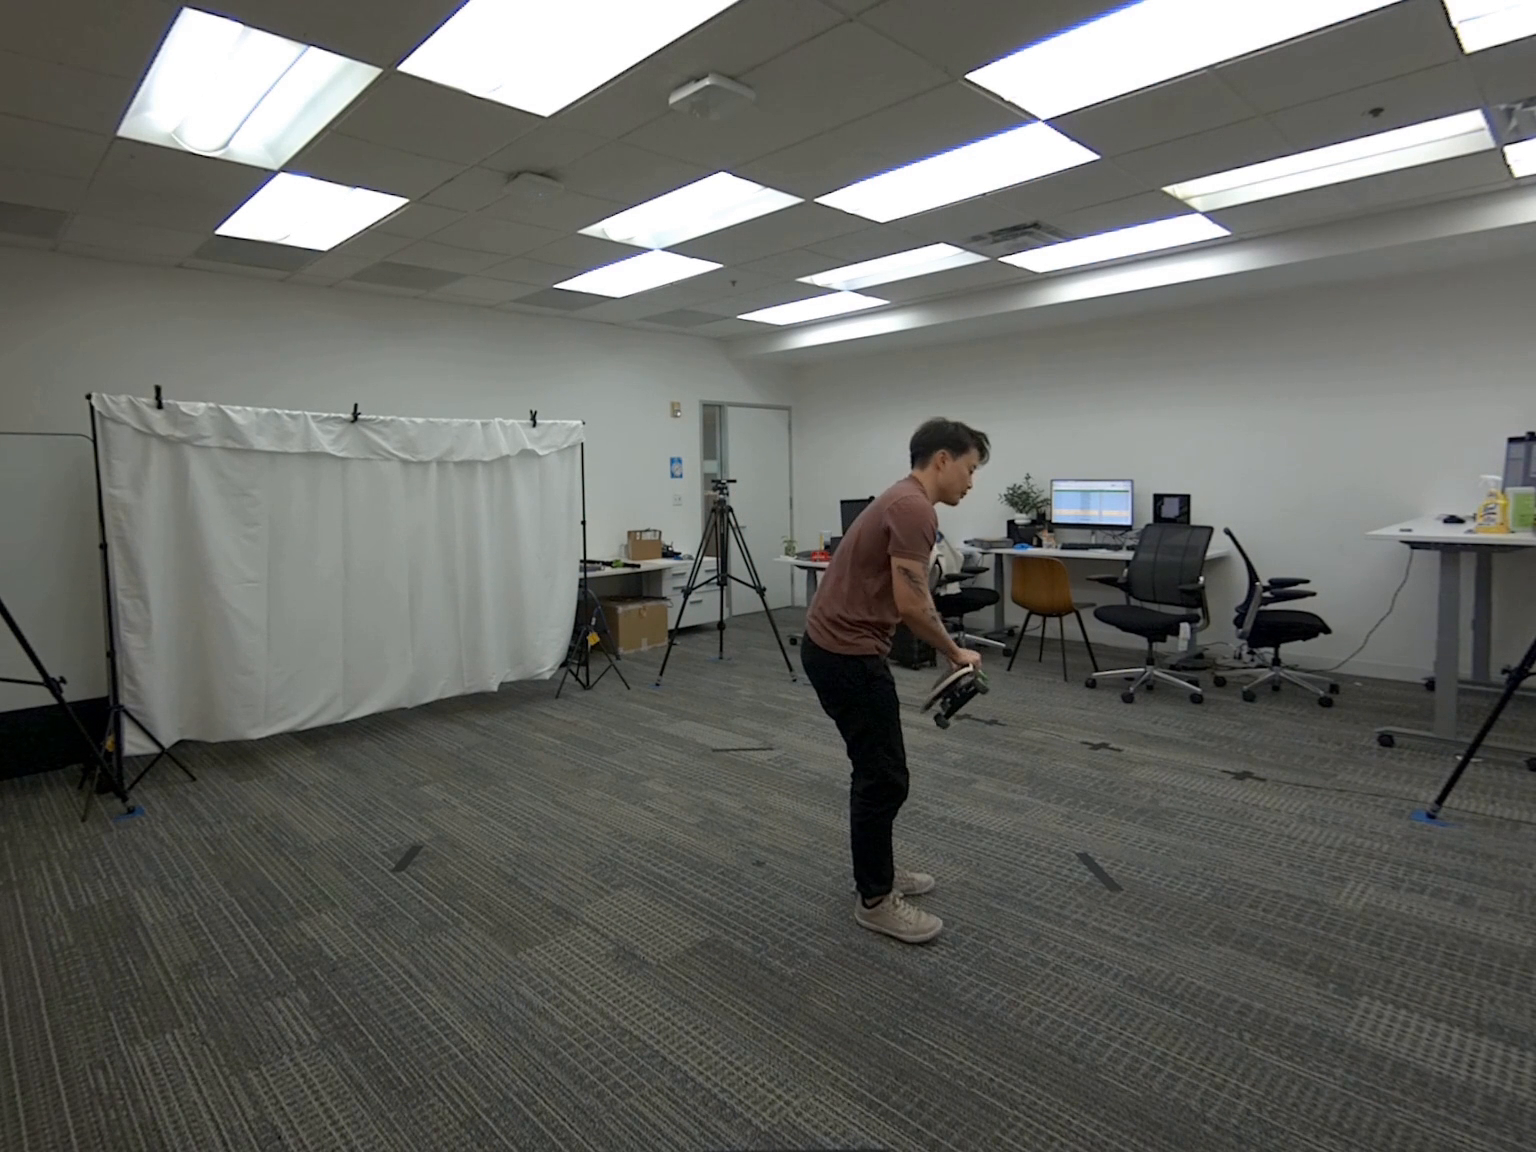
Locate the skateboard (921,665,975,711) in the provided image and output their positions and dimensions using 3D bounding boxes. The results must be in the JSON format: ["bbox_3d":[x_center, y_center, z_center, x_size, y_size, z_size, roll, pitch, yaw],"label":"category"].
[{"bbox_3d":[0.580,0.377,2.687,0.193,0.112,0.772,-46,-10,6],"label":"skateboard"}]
